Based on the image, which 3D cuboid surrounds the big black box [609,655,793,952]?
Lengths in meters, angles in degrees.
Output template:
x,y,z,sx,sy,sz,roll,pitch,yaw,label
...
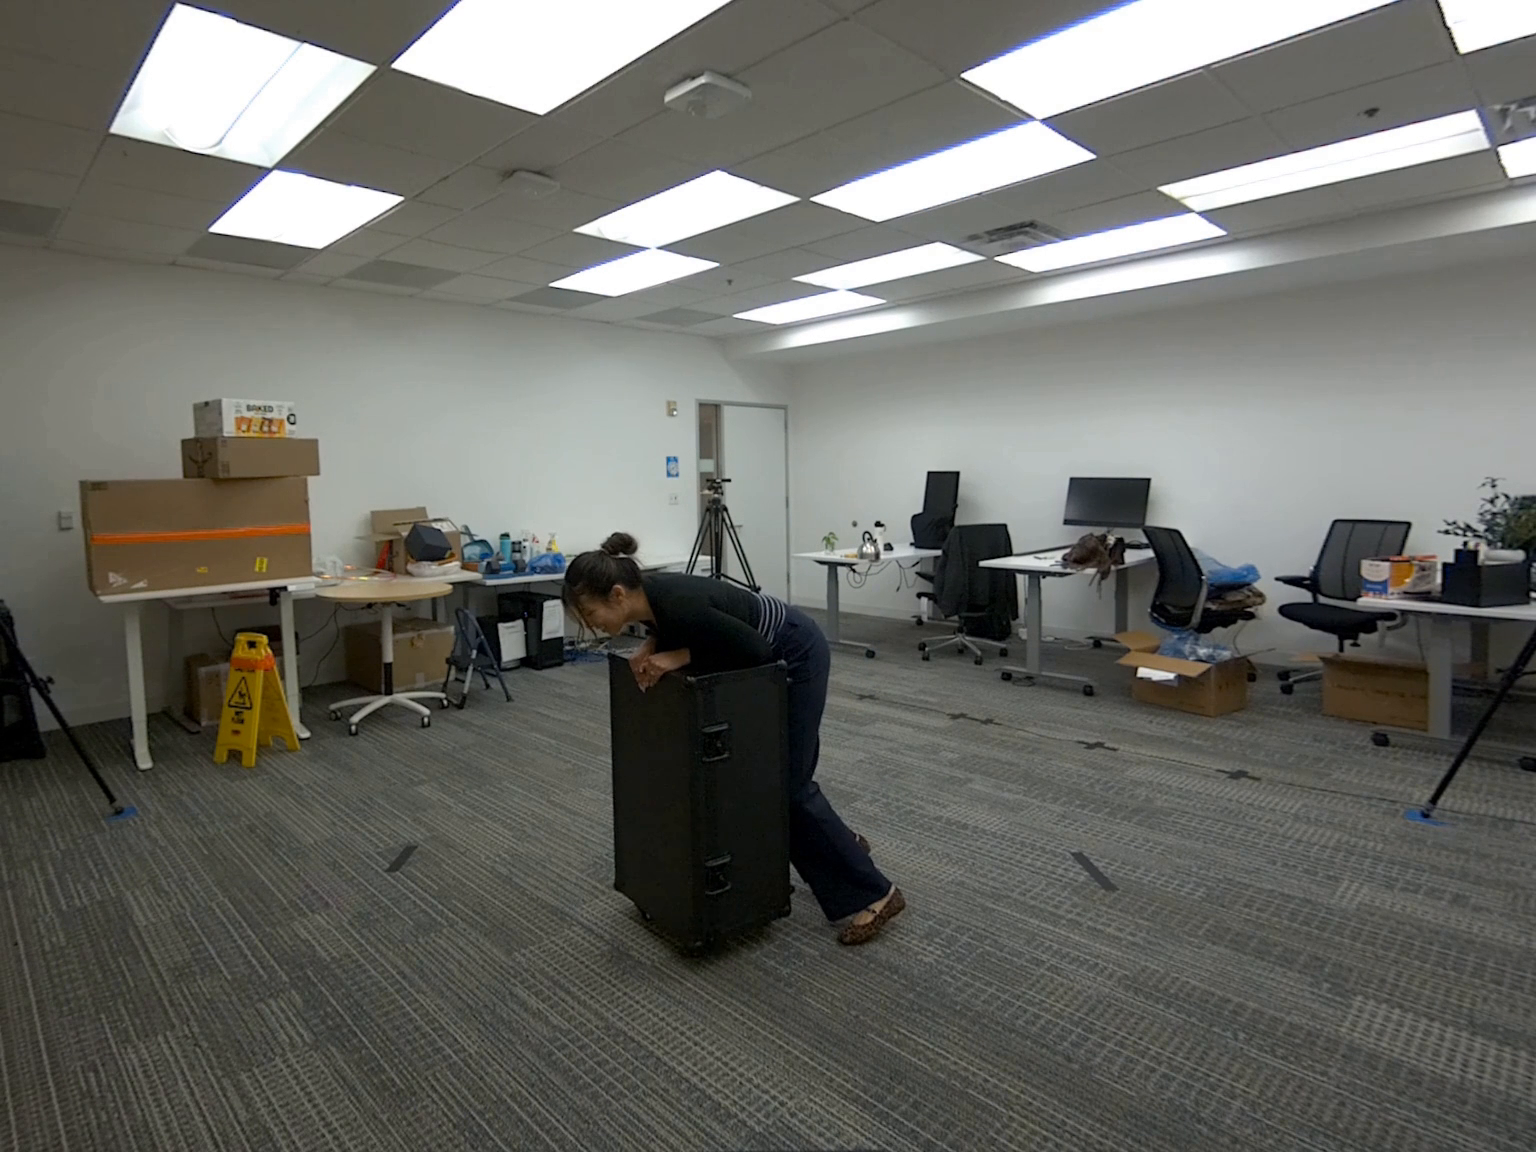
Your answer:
x,y,z,sx,sy,sz,roll,pitch,yaw,label
-0.219,0.674,2.678,0.386,0.859,0.536,-3,5,-35,big black box
